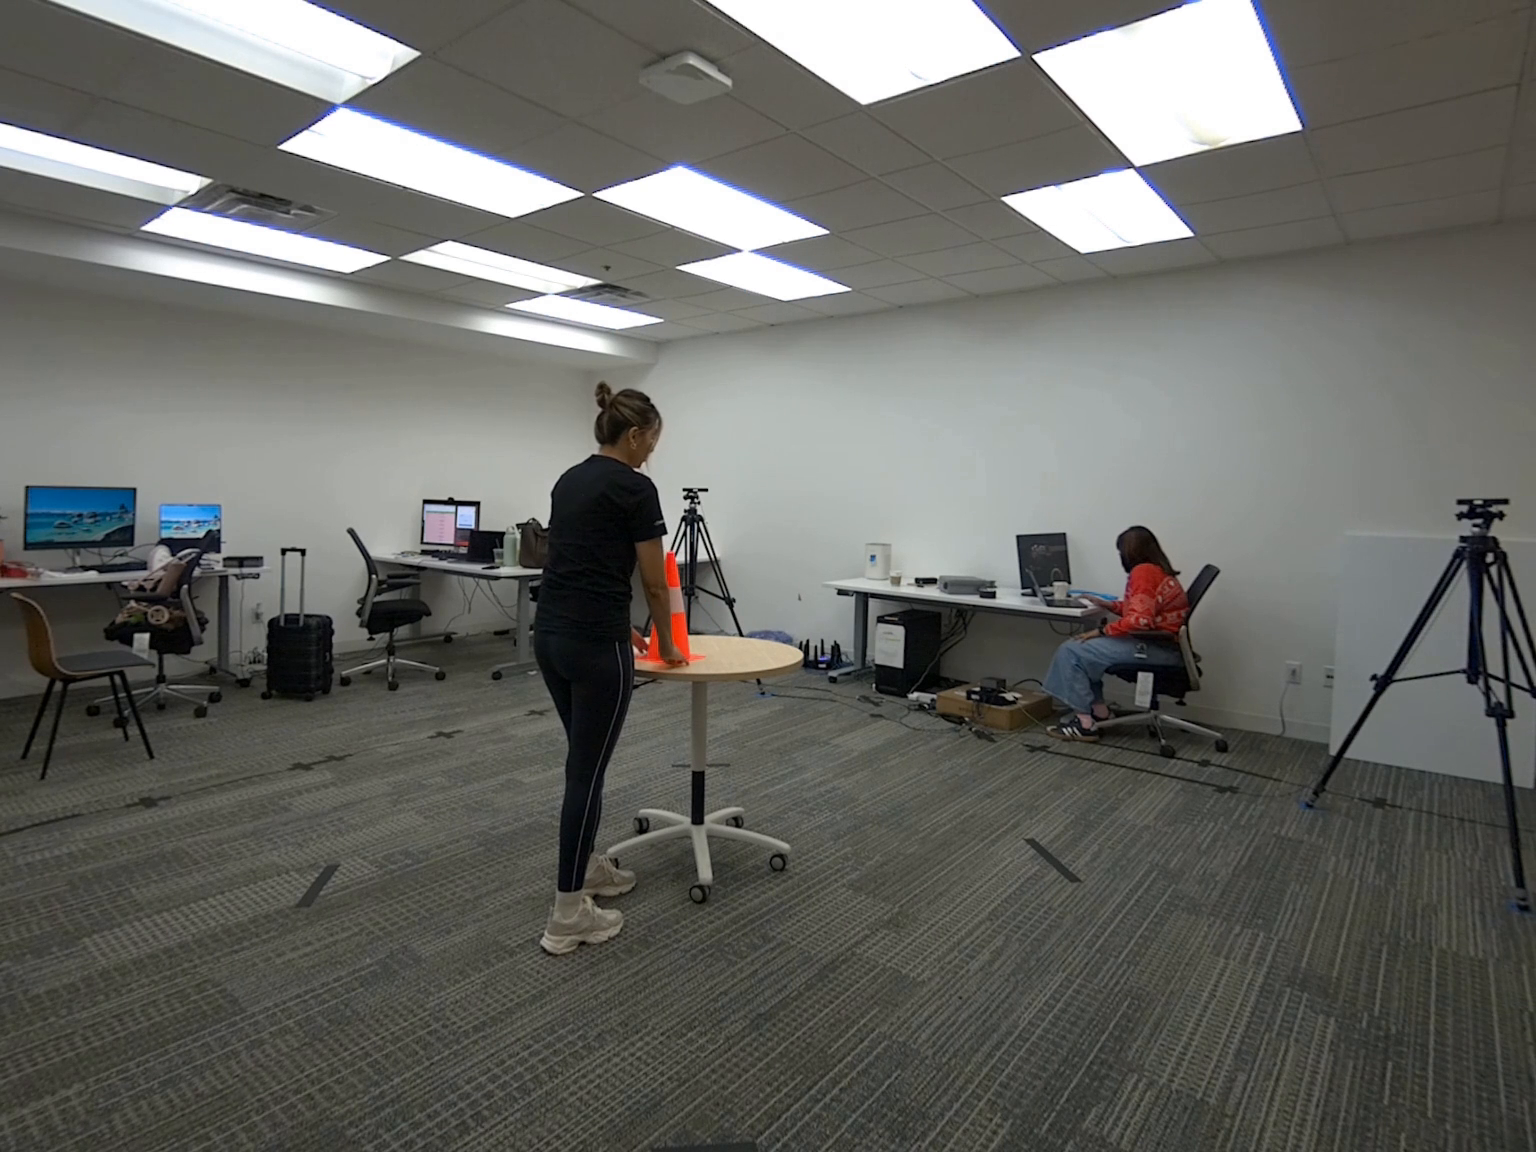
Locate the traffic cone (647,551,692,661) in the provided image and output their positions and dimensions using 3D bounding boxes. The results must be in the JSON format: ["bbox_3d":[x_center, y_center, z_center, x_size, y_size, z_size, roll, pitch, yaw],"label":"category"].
[{"bbox_3d":[-0.369,0.103,3.026,0.210,0.382,0.199,4,5,43],"label":"traffic cone"}]
